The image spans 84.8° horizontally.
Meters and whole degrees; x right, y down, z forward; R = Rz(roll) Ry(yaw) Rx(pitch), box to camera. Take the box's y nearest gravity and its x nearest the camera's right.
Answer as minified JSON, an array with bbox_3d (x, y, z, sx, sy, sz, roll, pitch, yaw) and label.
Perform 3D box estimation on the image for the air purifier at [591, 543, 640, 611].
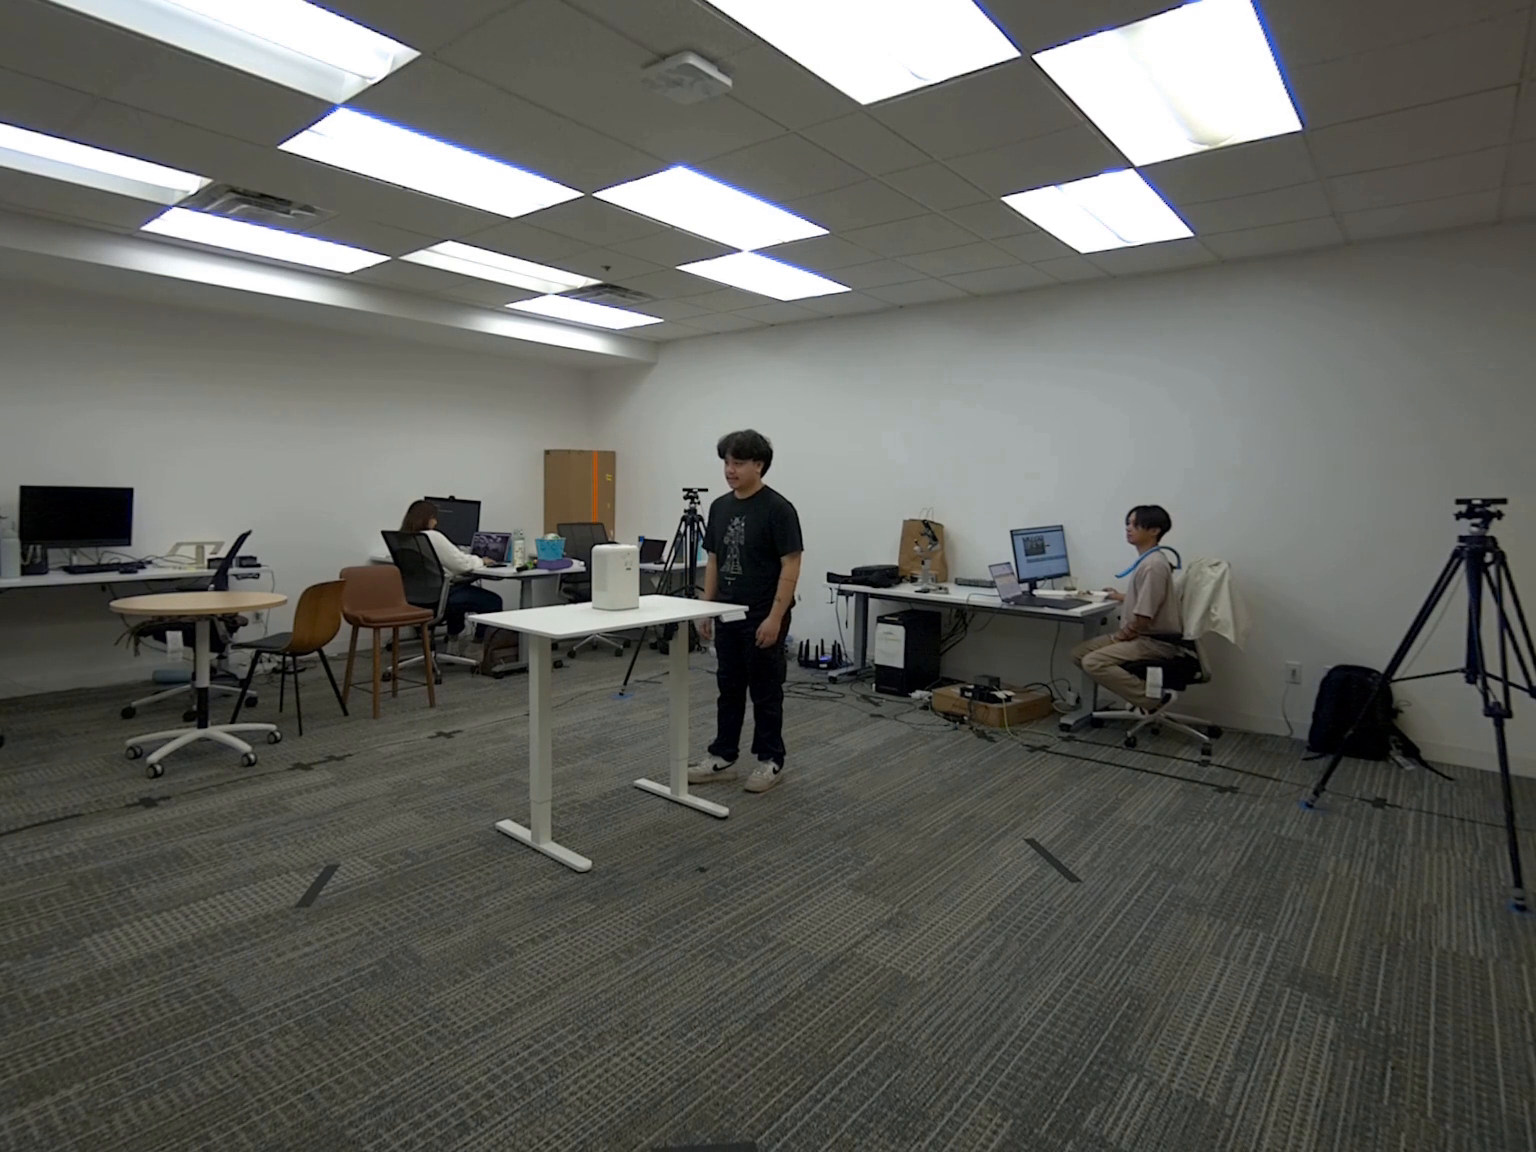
[{"bbox_3d":[-0.659,-0.002,3.595,0.177,0.264,0.166,4,5,42],"label":"air purifier"}]
